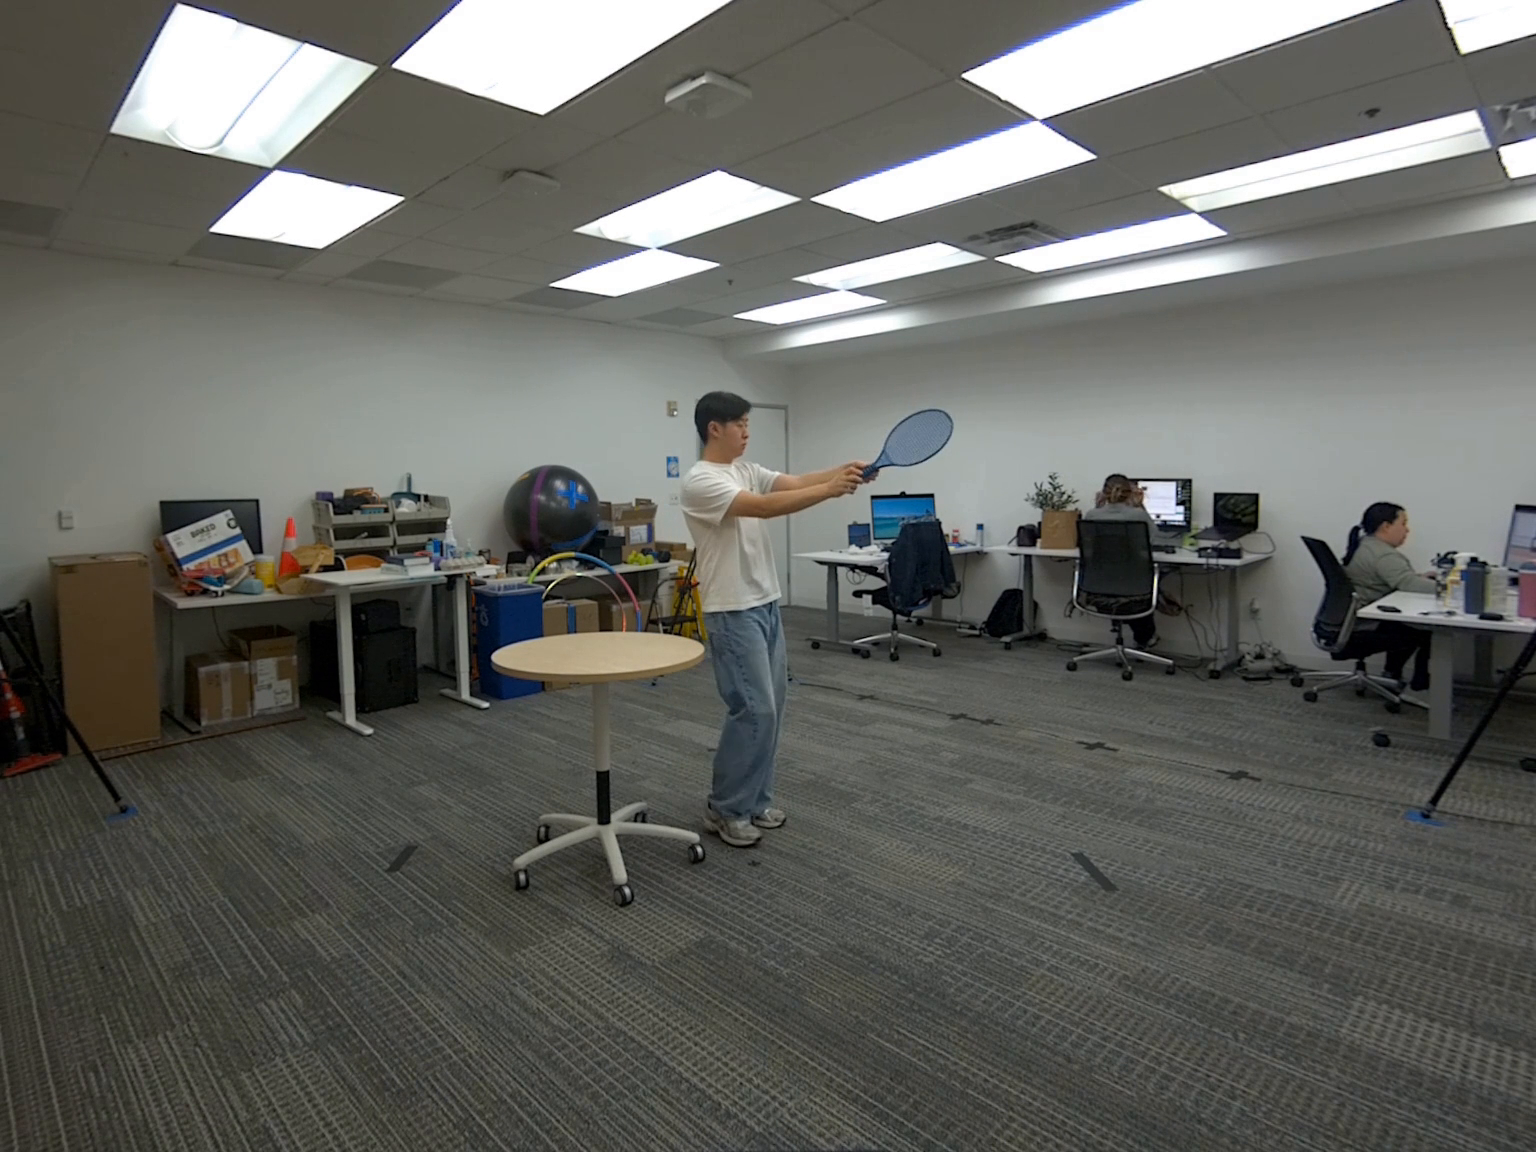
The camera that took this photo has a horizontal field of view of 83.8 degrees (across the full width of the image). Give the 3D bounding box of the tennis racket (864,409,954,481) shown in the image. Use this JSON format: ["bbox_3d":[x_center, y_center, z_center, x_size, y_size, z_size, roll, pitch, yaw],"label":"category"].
[{"bbox_3d":[0.475,-0.440,3.068,0.434,0.222,0.030,-35,-41,10],"label":"tennis racket"}]
